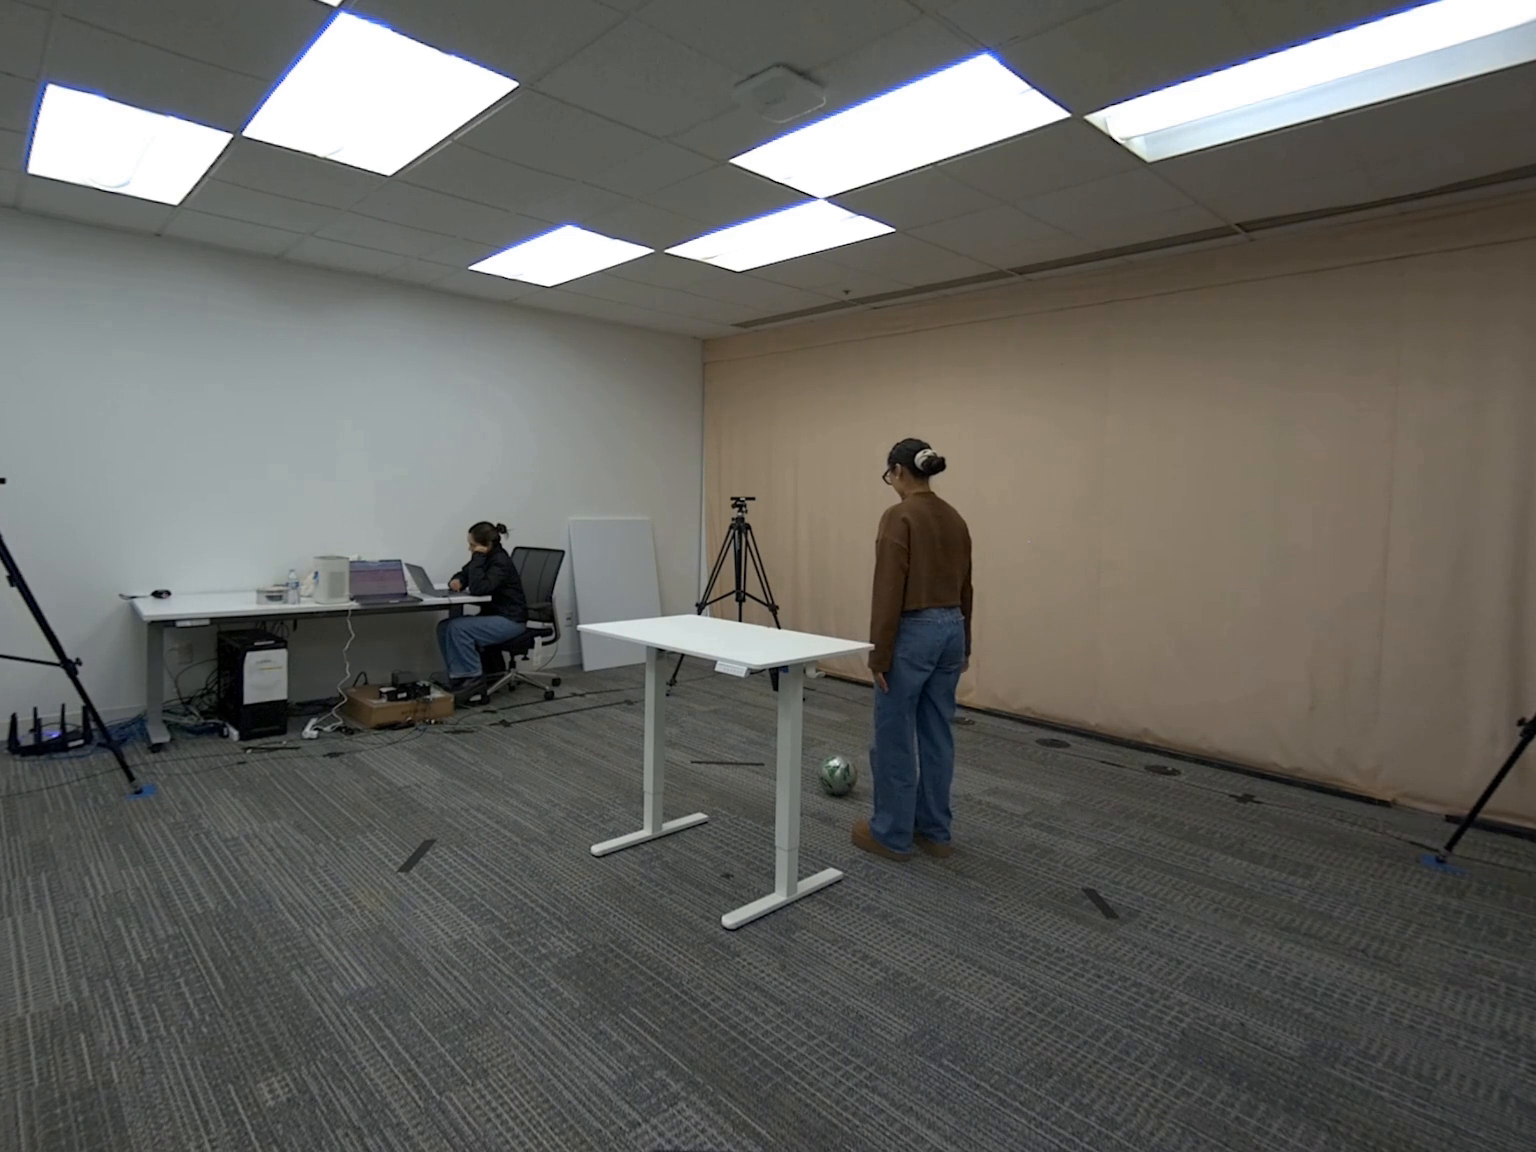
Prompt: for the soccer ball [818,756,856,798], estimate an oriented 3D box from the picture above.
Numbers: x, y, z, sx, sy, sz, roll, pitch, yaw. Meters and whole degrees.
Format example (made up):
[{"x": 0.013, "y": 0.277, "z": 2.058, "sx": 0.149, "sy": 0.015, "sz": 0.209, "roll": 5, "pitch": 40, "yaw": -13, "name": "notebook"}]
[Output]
[{"x": 0.318, "y": 0.947, "z": 4.011, "sx": 0.187, "sy": 0.187, "sz": 0.188, "roll": 1, "pitch": 4, "yaw": -1, "name": "soccer ball"}]
